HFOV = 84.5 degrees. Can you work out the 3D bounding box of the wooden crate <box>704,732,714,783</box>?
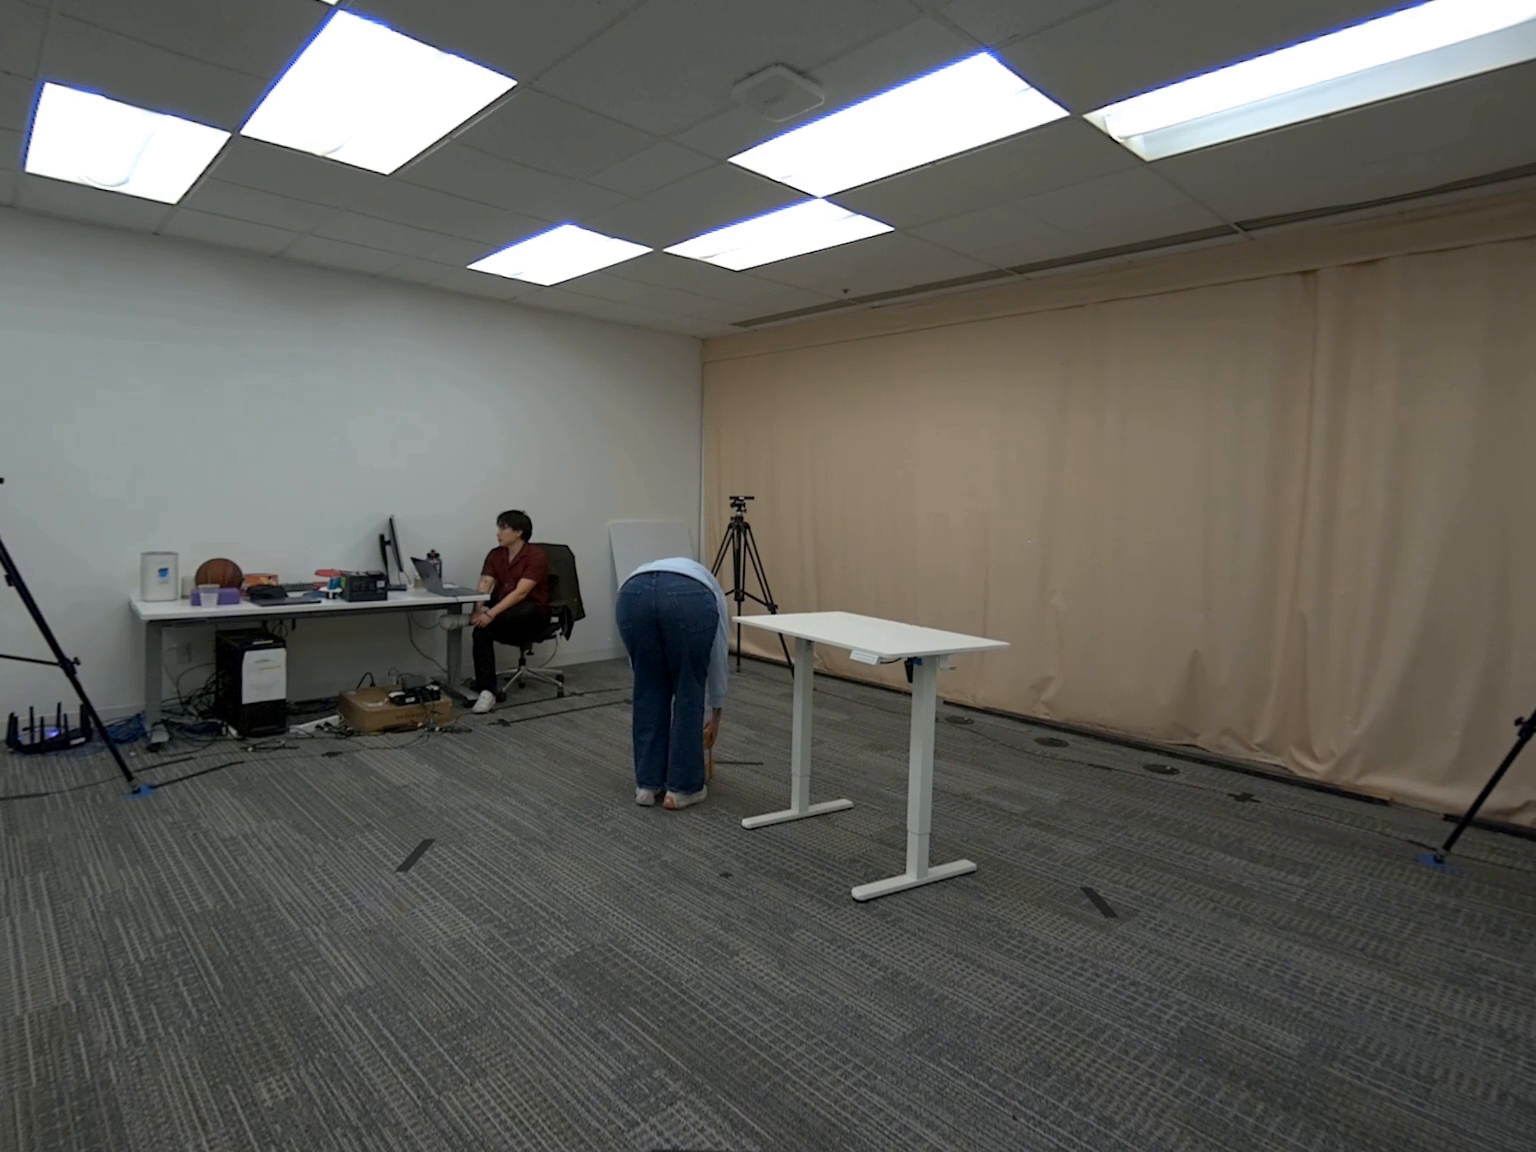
[{"bbox_3d":[-0.444,0.861,4.206,0.326,0.273,0.300,4,2,6],"label":"wooden crate"}]
